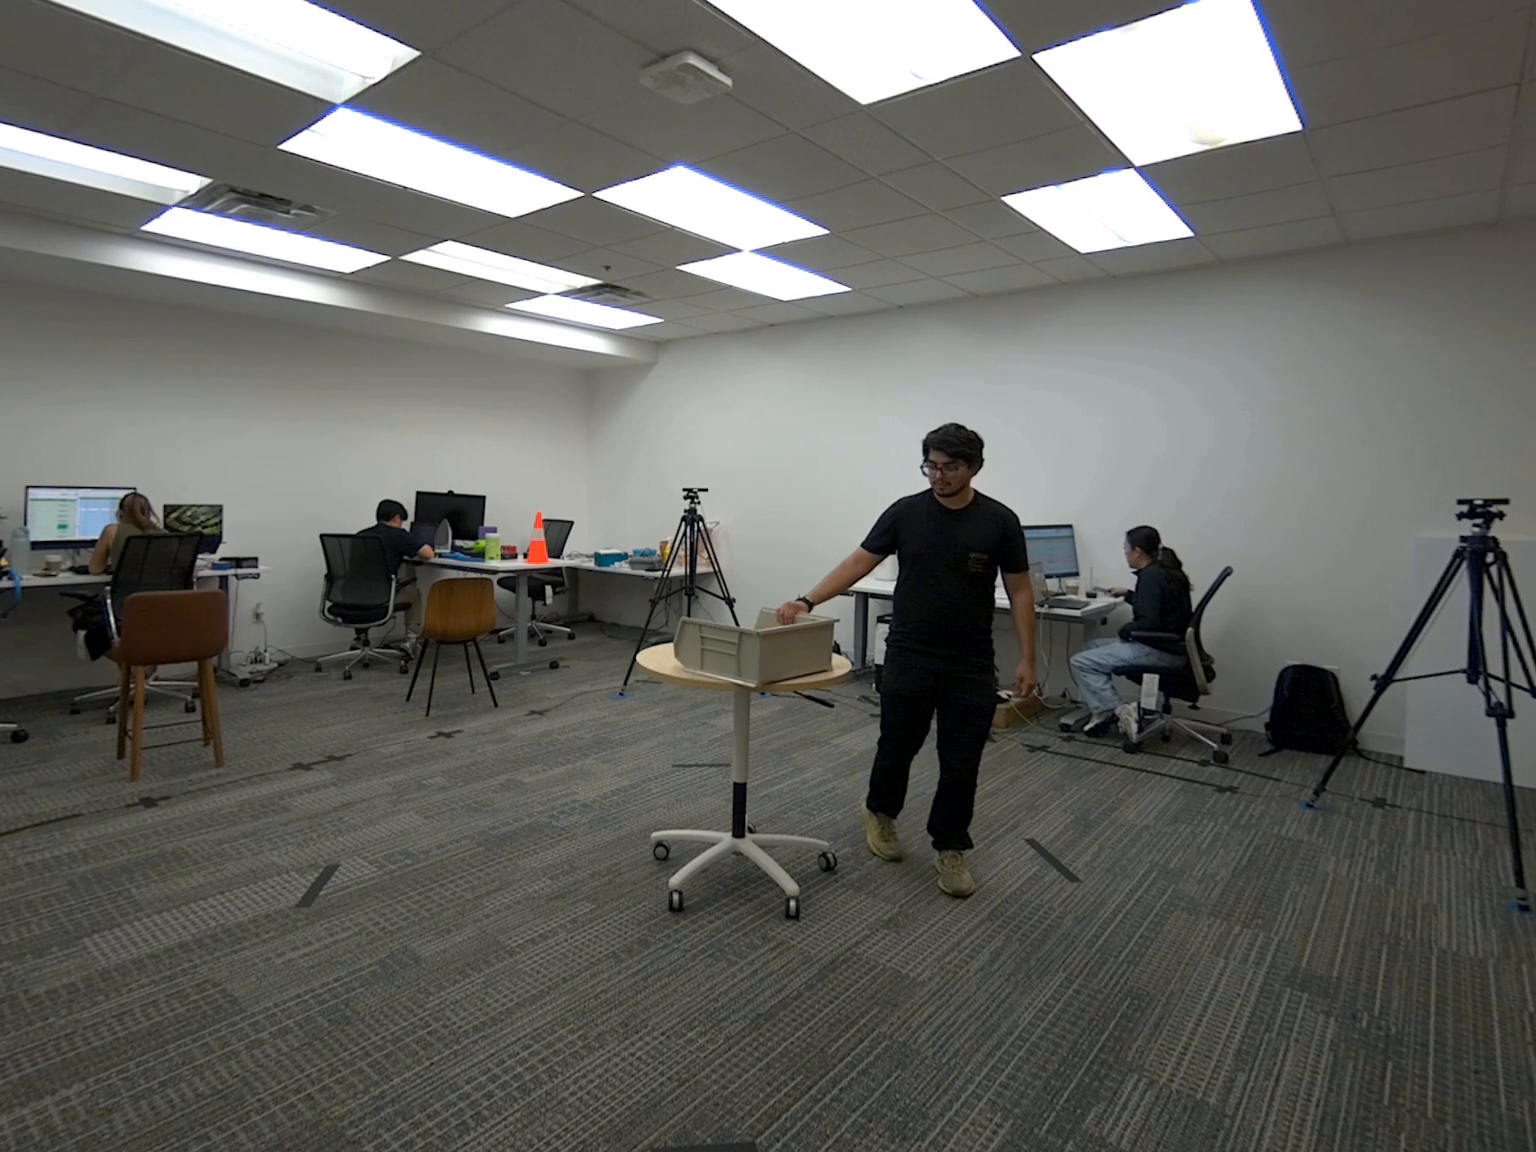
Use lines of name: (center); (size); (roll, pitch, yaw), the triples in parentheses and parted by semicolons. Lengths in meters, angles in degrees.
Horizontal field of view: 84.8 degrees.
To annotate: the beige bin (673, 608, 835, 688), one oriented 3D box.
beige bin: (-0.052, 0.227, 2.860); (0.390, 0.188, 0.409); (8, 7, 40)
